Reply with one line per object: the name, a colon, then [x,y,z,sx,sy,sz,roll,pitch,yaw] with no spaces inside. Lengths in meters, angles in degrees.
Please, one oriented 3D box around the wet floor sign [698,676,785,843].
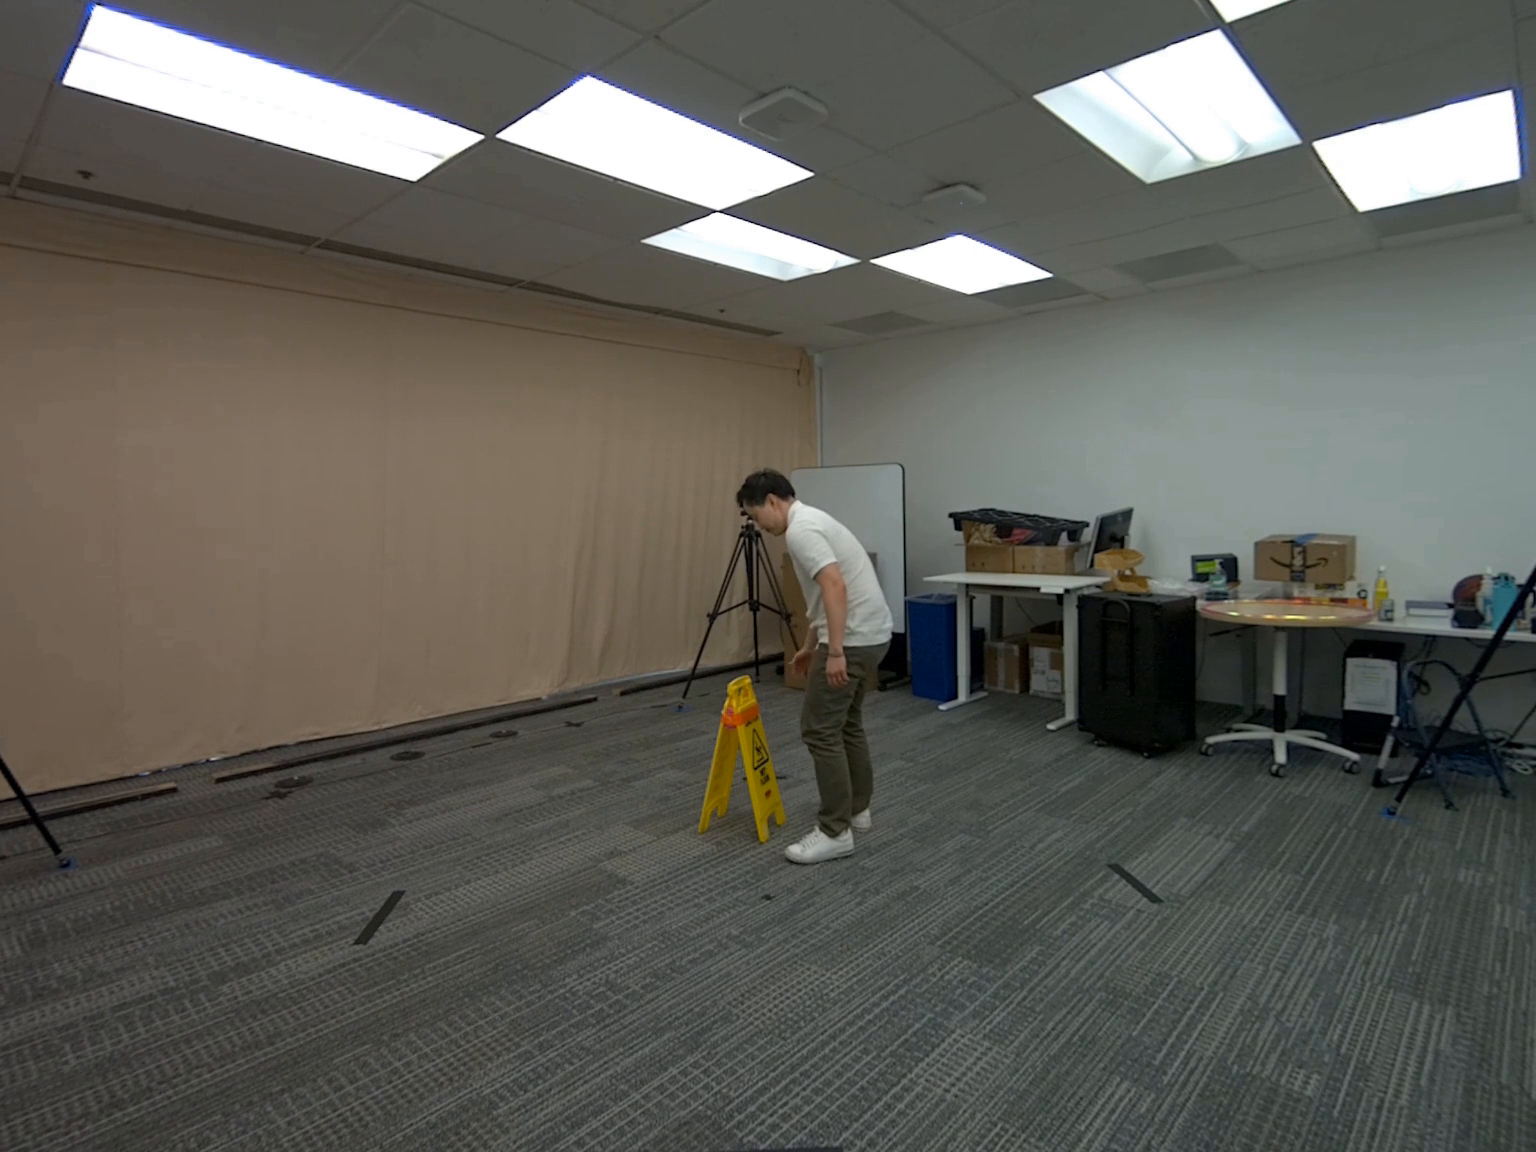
wet floor sign: [-0.118,0.764,3.631,0.296,0.645,0.276,0,1,22]
